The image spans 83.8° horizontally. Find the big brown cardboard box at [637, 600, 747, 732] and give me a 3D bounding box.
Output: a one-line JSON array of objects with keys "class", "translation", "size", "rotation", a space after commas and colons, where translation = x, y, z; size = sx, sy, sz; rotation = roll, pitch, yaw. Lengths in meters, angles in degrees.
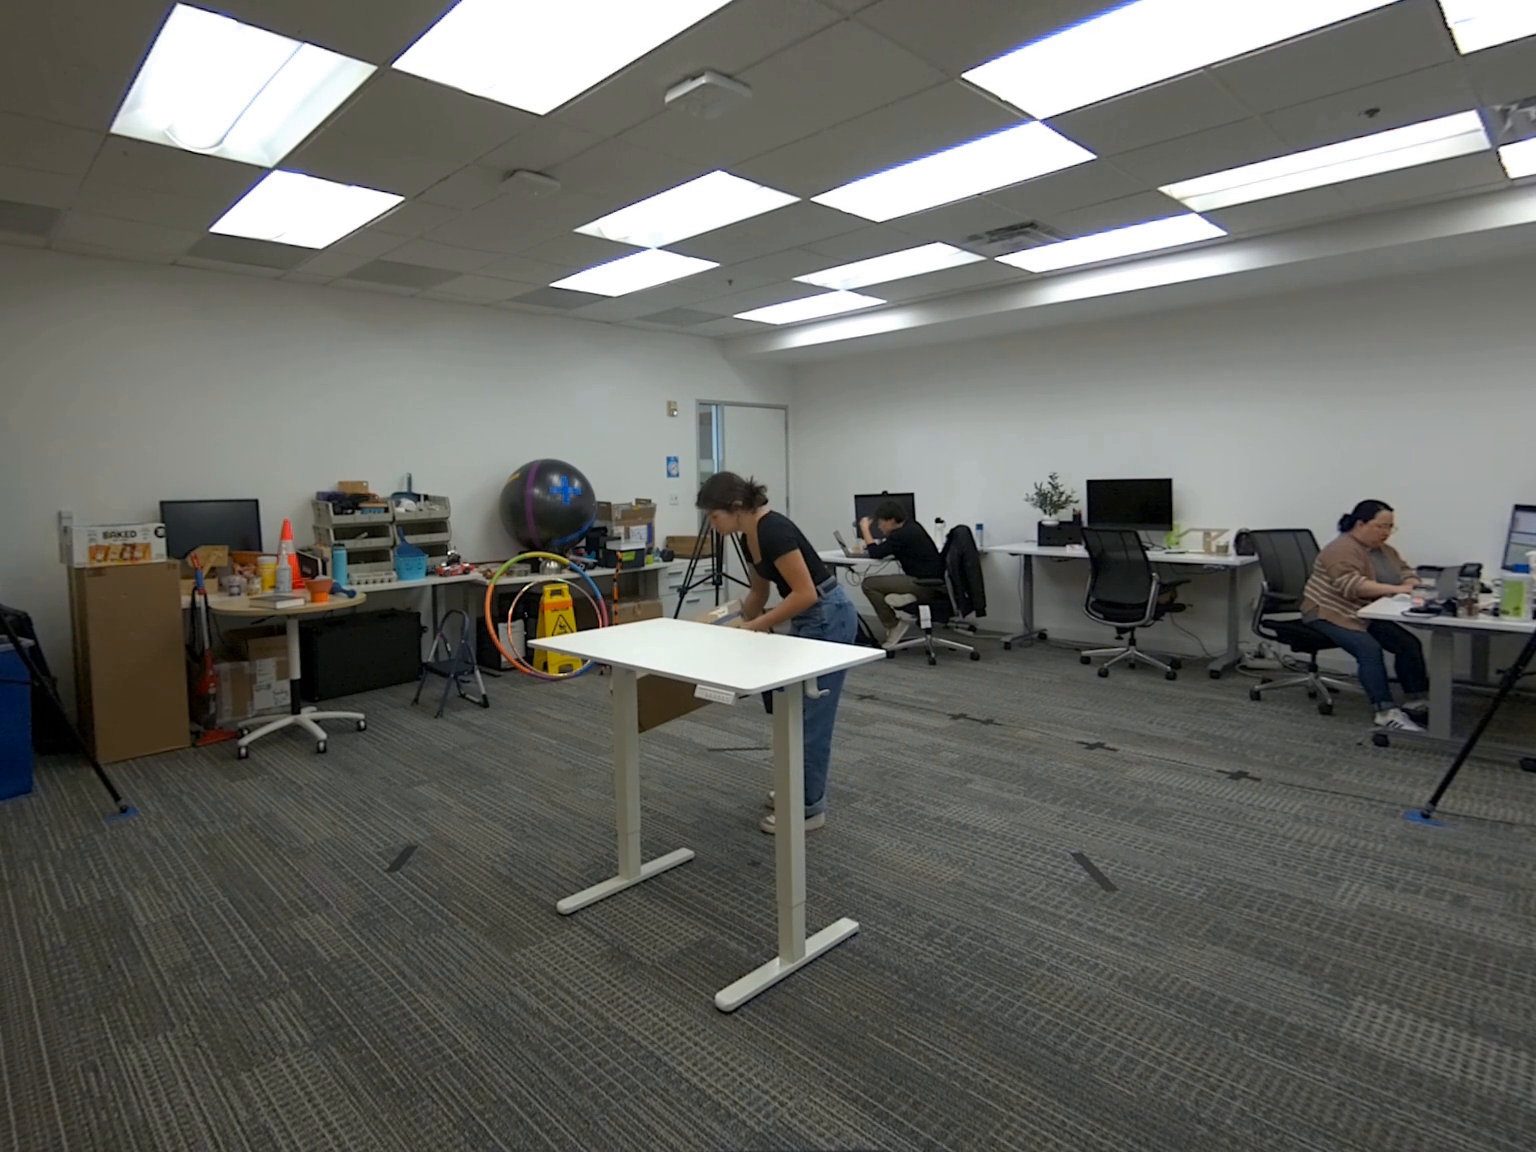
[{"class": "big brown cardboard box", "translation": [-0.329, 0.358, 3.445], "size": [0.590, 0.229, 0.424], "rotation": [-24, 17, 5]}]
